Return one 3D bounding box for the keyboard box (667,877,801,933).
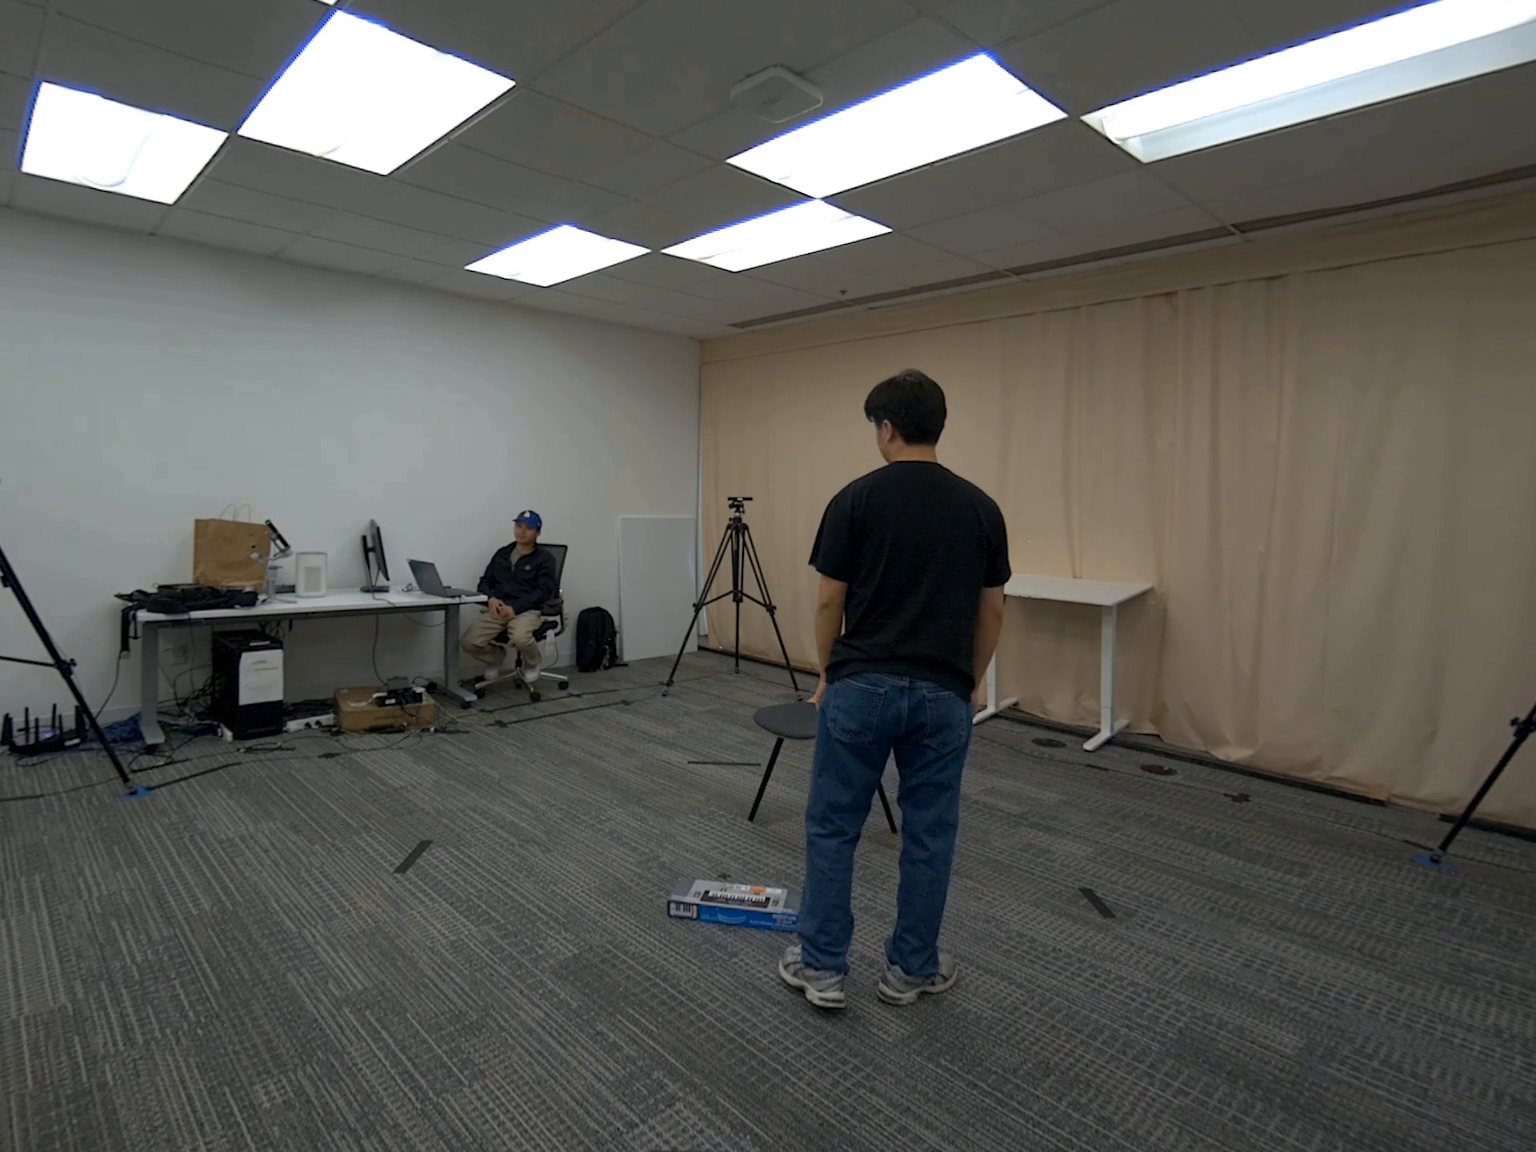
[{"bbox_3d":[-0.111,1.105,2.826,0.441,0.059,0.175,2,5,11],"label":"keyboard box"}]
